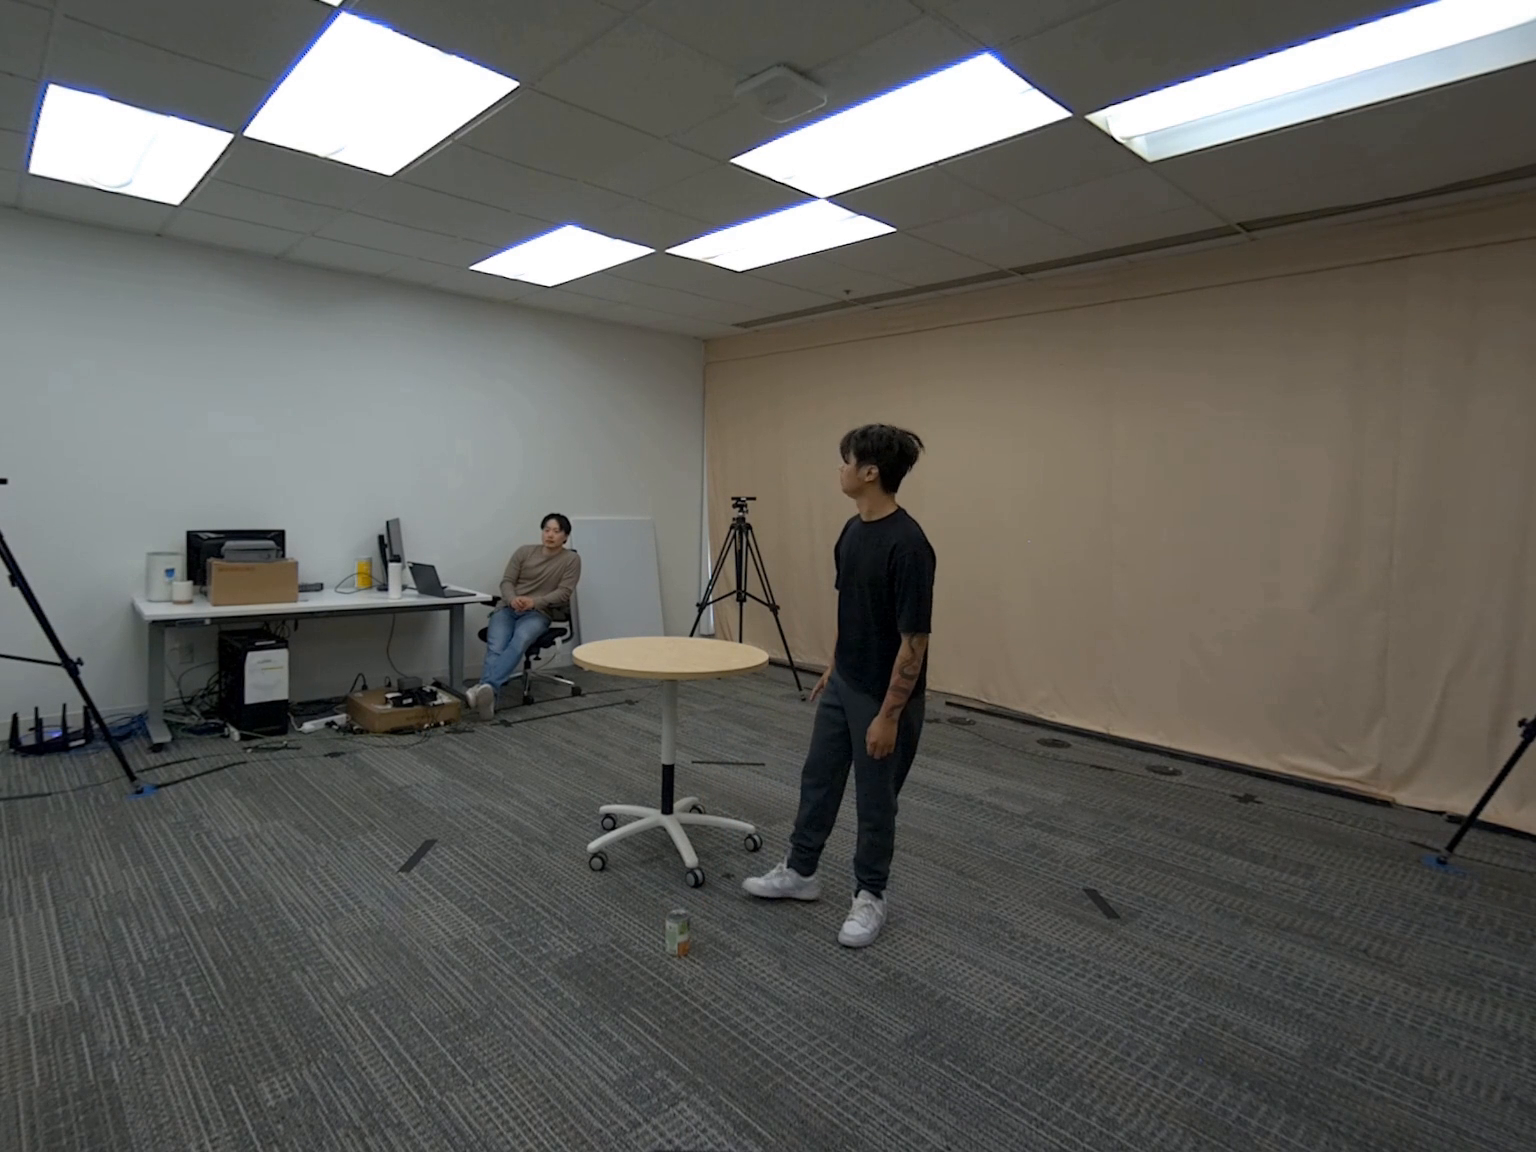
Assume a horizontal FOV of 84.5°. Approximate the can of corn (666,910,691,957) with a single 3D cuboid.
[{"bbox_3d":[-0.280,1.102,2.573,0.074,0.111,0.074,2,4,-2],"label":"can of corn"}]
